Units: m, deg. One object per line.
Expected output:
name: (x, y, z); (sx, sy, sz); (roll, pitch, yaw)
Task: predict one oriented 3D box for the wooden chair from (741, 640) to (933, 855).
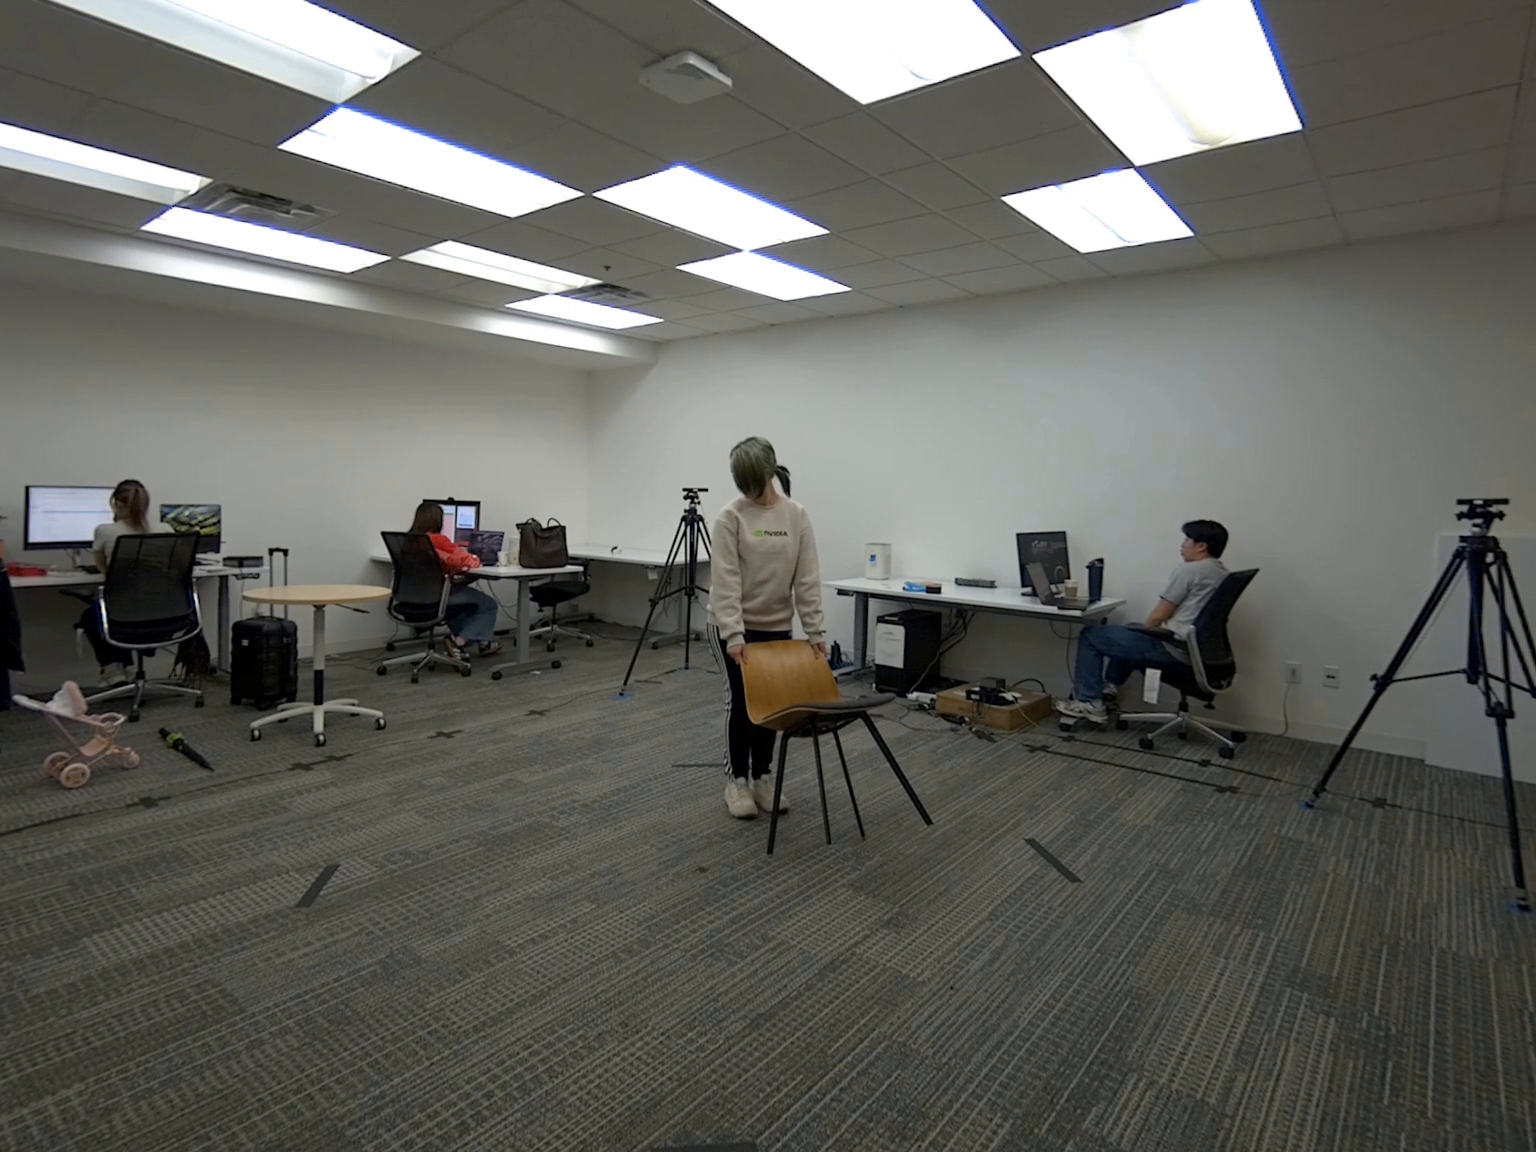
wooden chair: (0.210, 0.571, 3.287); (0.465, 0.901, 0.523); (0, -27, -29)
